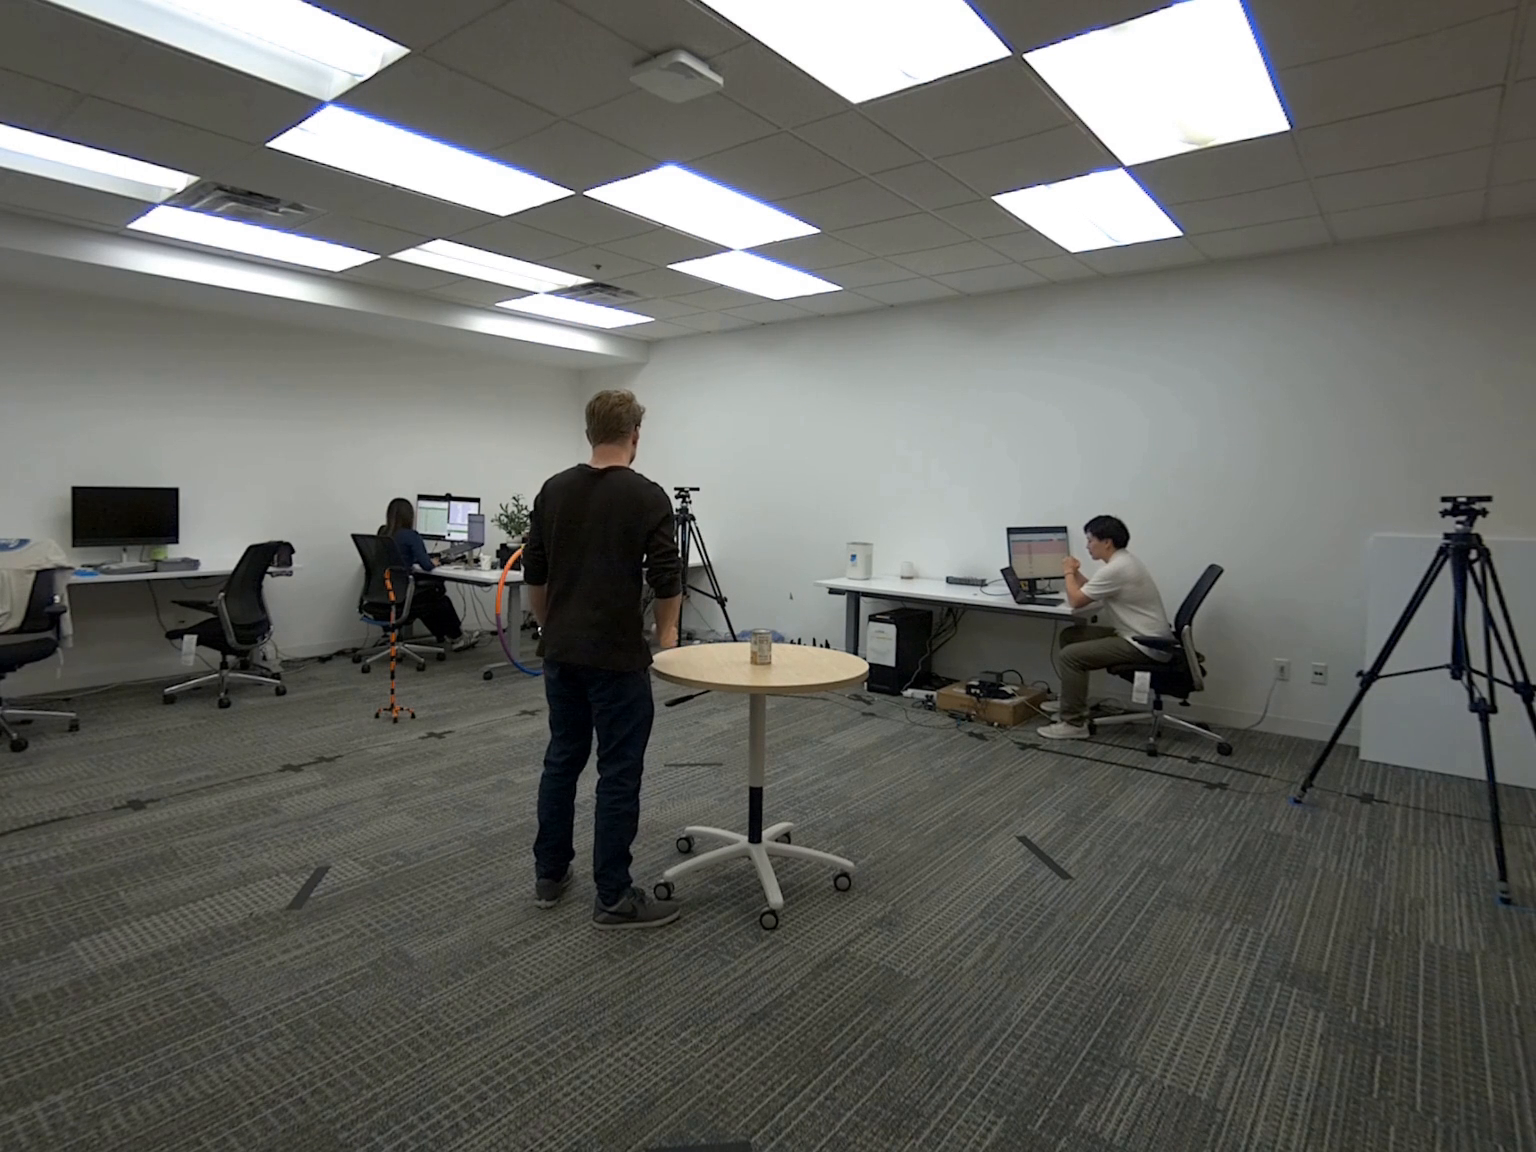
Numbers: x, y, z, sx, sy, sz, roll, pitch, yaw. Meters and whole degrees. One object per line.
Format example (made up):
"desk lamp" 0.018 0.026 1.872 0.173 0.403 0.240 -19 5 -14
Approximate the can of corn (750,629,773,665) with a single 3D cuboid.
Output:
"can of corn" -0.033 0.249 2.947 0.074 0.110 0.075 0 6 -2
